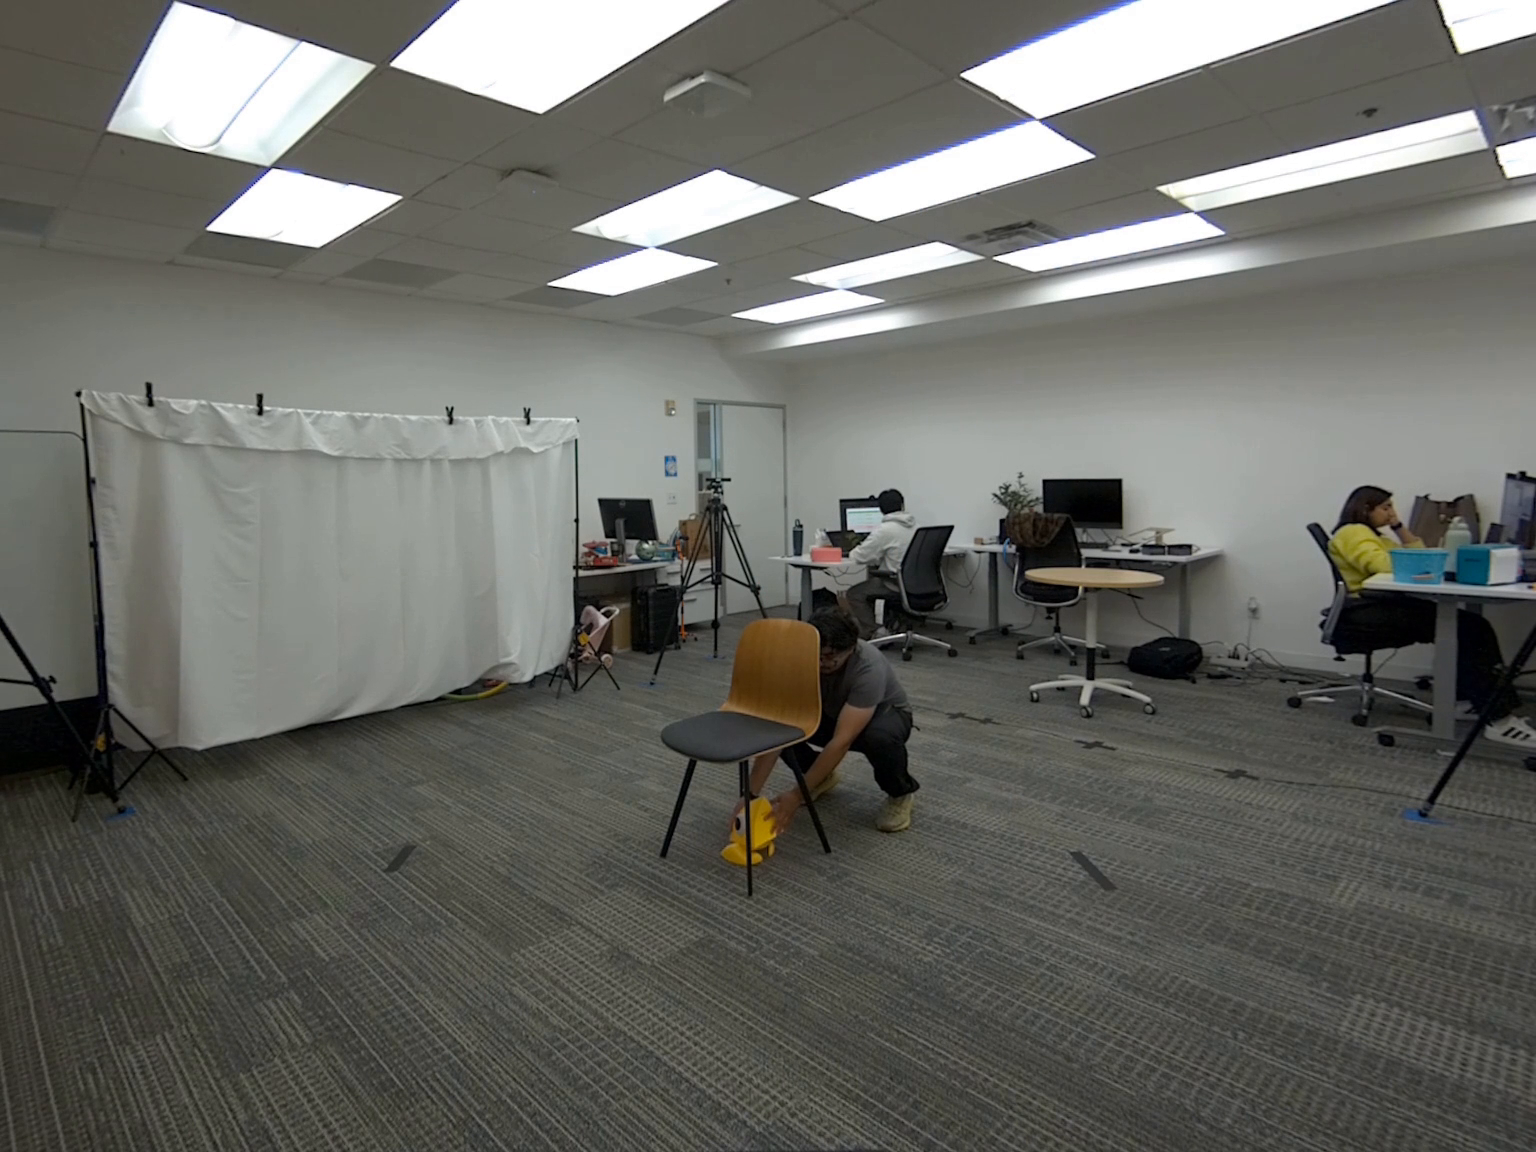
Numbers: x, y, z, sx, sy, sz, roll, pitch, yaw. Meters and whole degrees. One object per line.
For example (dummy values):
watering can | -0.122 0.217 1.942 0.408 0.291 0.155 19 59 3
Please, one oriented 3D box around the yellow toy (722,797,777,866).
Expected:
yellow toy | -0.060 0.926 3.169 0.199 0.229 0.199 9 10 41
